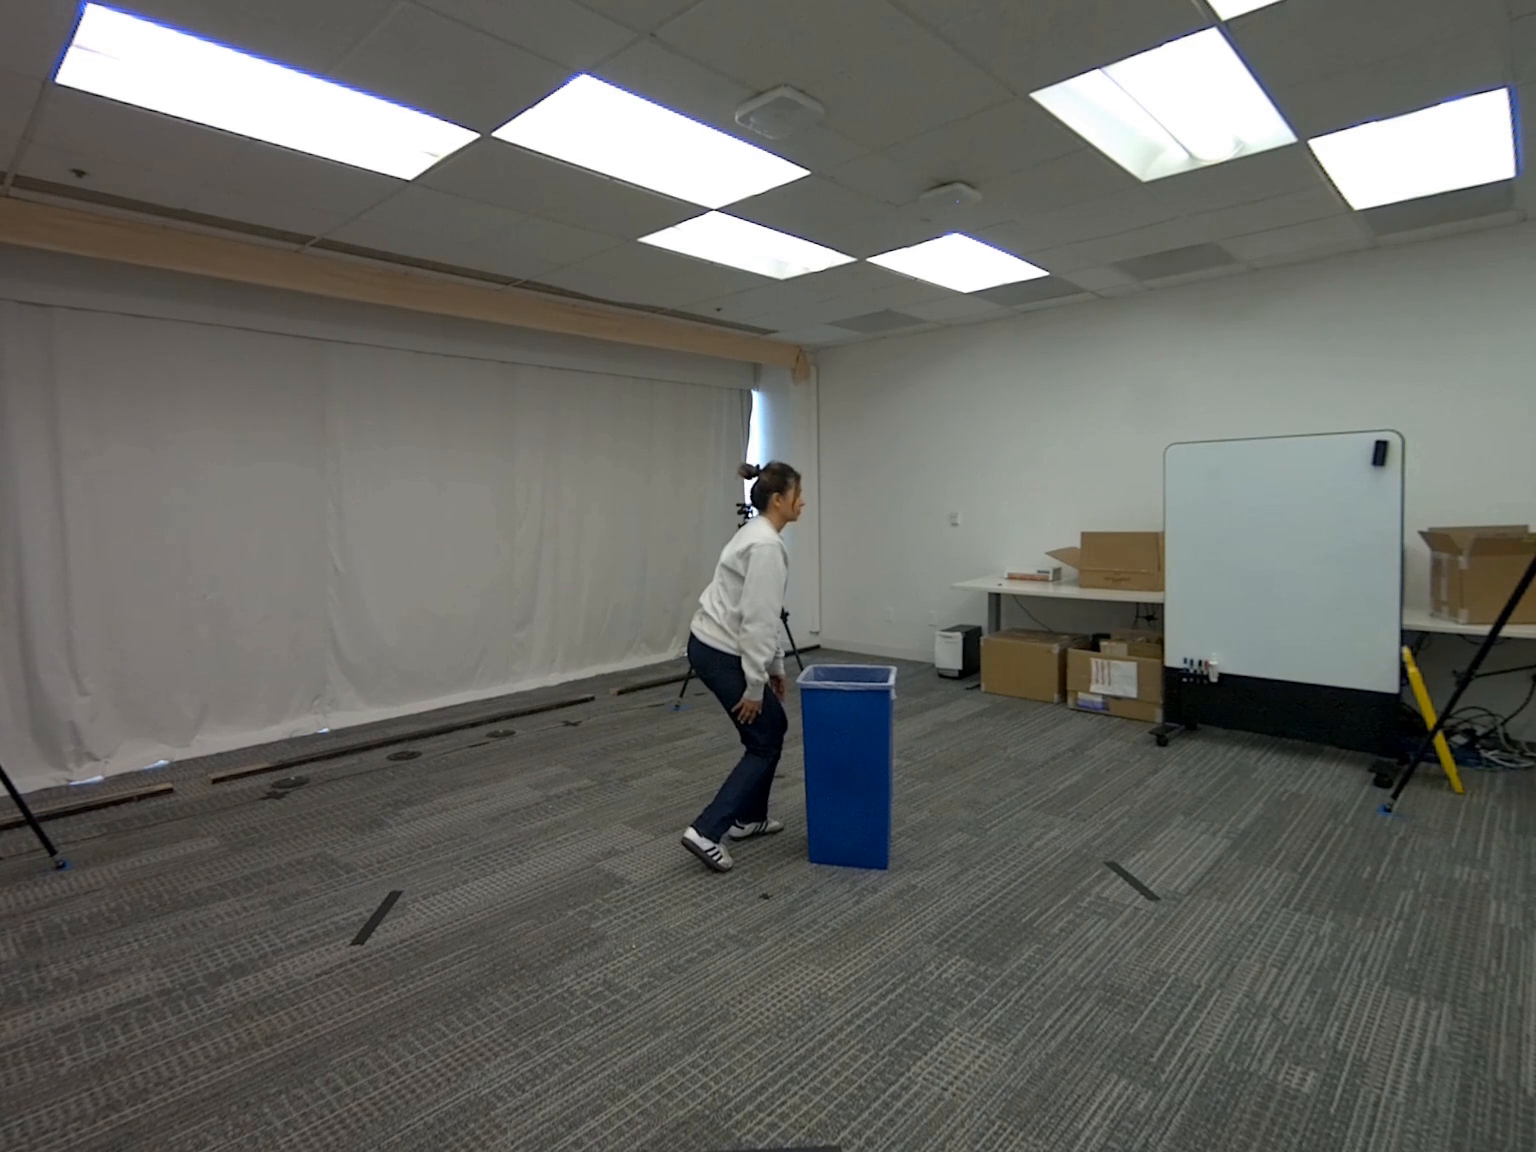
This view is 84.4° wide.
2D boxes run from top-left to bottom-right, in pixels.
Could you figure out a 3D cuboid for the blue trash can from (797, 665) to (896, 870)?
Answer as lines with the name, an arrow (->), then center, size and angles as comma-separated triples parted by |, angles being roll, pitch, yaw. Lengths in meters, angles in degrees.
blue trash can -> 0.322, 0.741, 3.333 | 0.380, 0.712, 0.373 | 0, 3, 13
